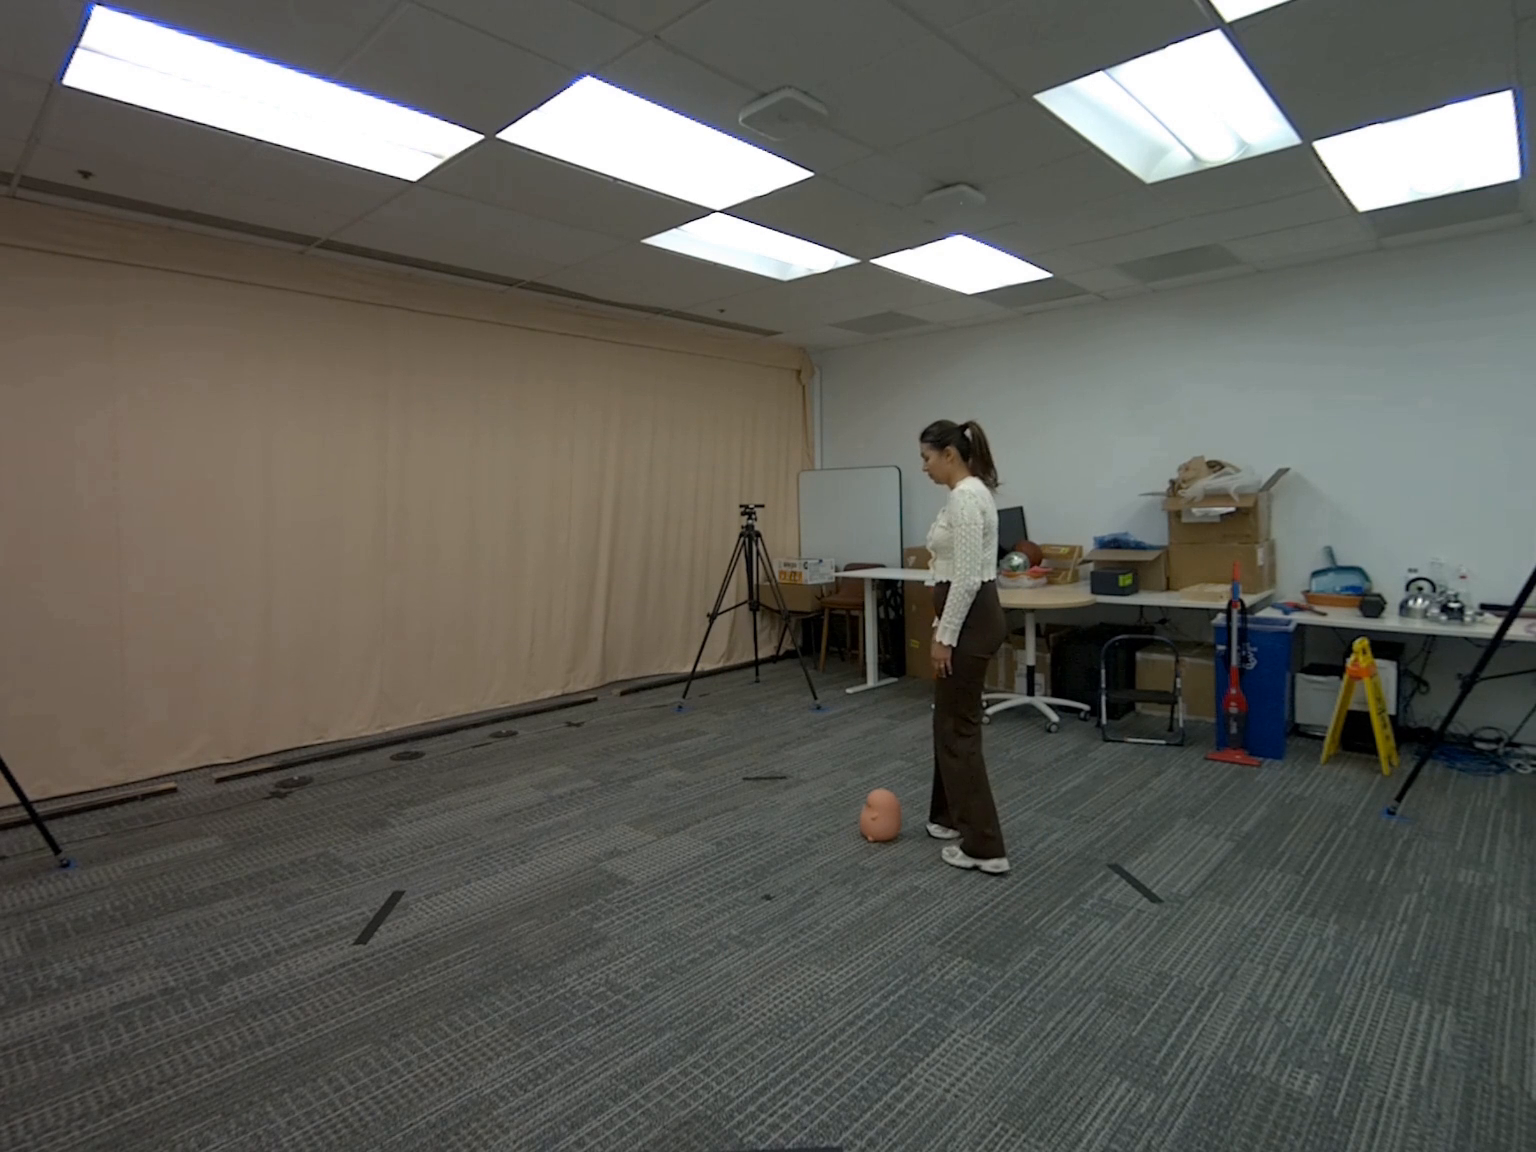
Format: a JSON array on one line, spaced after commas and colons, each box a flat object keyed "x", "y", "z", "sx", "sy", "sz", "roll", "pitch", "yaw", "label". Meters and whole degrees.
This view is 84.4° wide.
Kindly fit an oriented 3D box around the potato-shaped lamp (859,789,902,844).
[{"x": 0.466, "y": 0.986, "z": 3.499, "sx": 0.170, "sy": 0.198, "sz": 0.167, "roll": -1, "pitch": 3, "yaw": -10, "label": "potato-shaped lamp"}]
